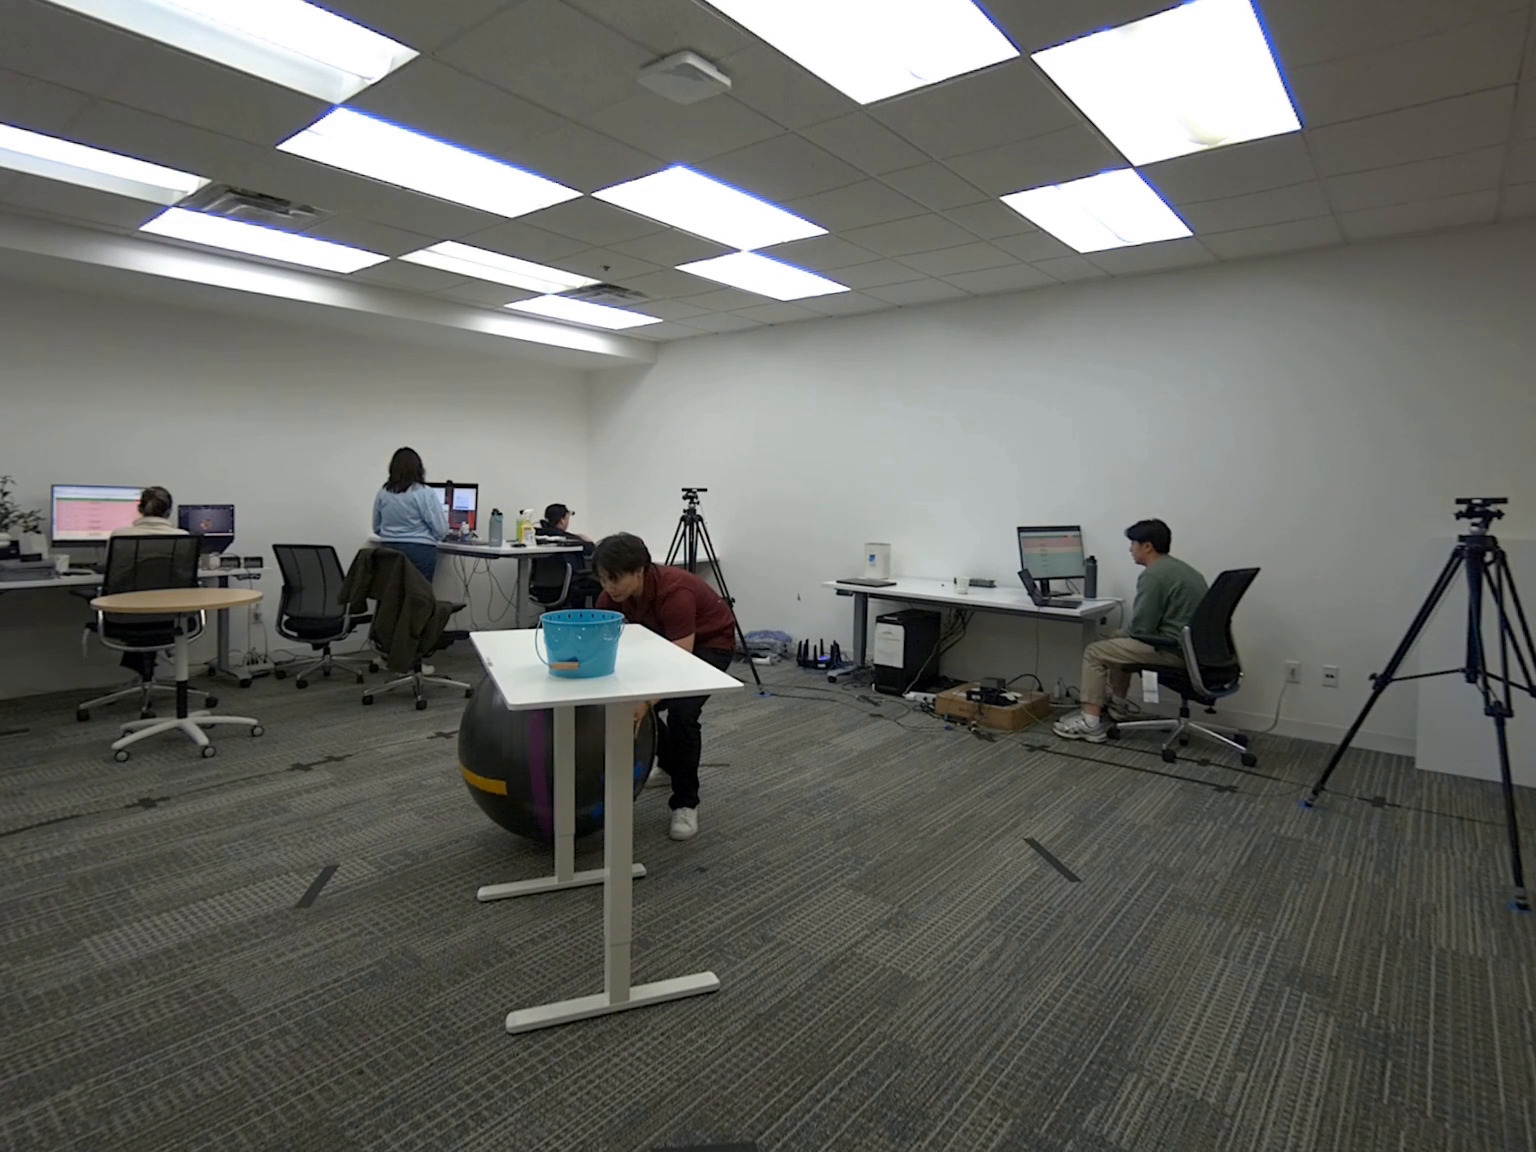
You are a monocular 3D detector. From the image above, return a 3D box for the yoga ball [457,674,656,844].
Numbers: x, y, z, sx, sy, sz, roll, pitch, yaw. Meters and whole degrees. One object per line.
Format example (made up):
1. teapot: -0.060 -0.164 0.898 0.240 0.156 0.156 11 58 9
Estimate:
1. yoga ball: -0.827 0.634 3.317 0.757 0.756 0.762 1 4 -2
